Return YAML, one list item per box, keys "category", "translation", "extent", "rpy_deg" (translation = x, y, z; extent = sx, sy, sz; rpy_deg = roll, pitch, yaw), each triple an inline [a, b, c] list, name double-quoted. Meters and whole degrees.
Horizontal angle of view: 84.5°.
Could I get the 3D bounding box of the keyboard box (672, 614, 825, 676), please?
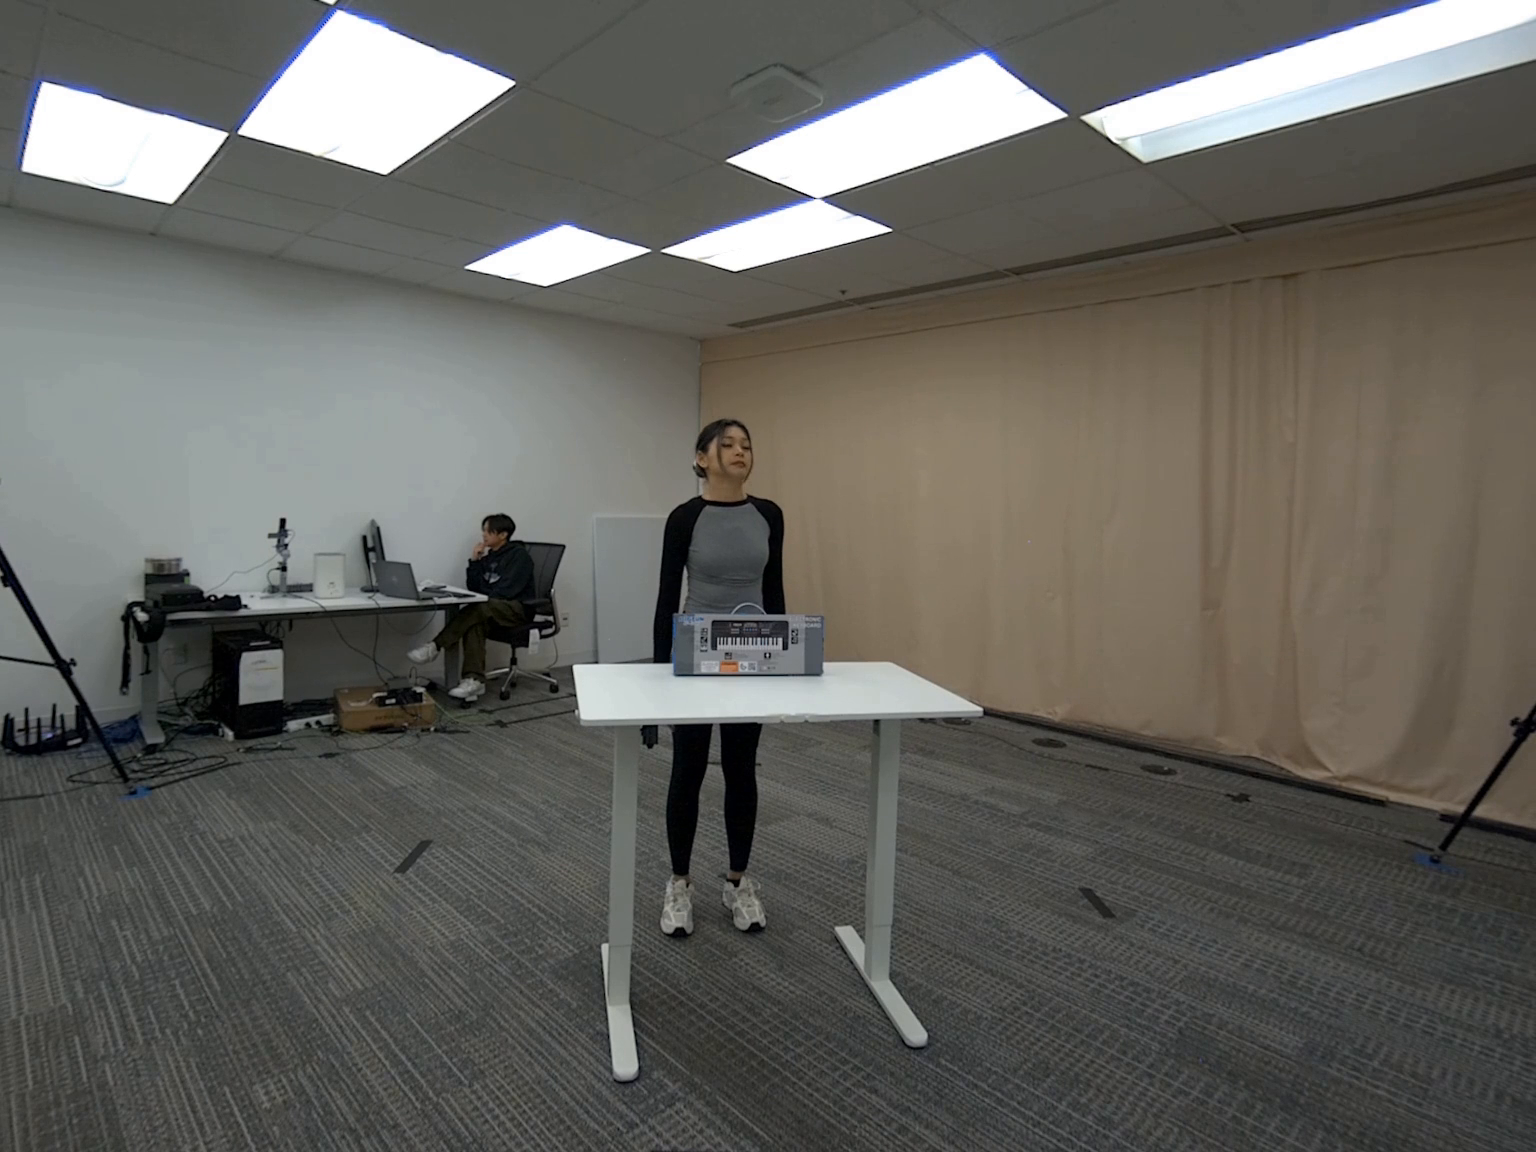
- category: "keyboard box"
  translation: [-0.063, 0.198, 2.441]
  extent: [0.433, 0.176, 0.059]
  rpy_deg: [2, -2, -10]
